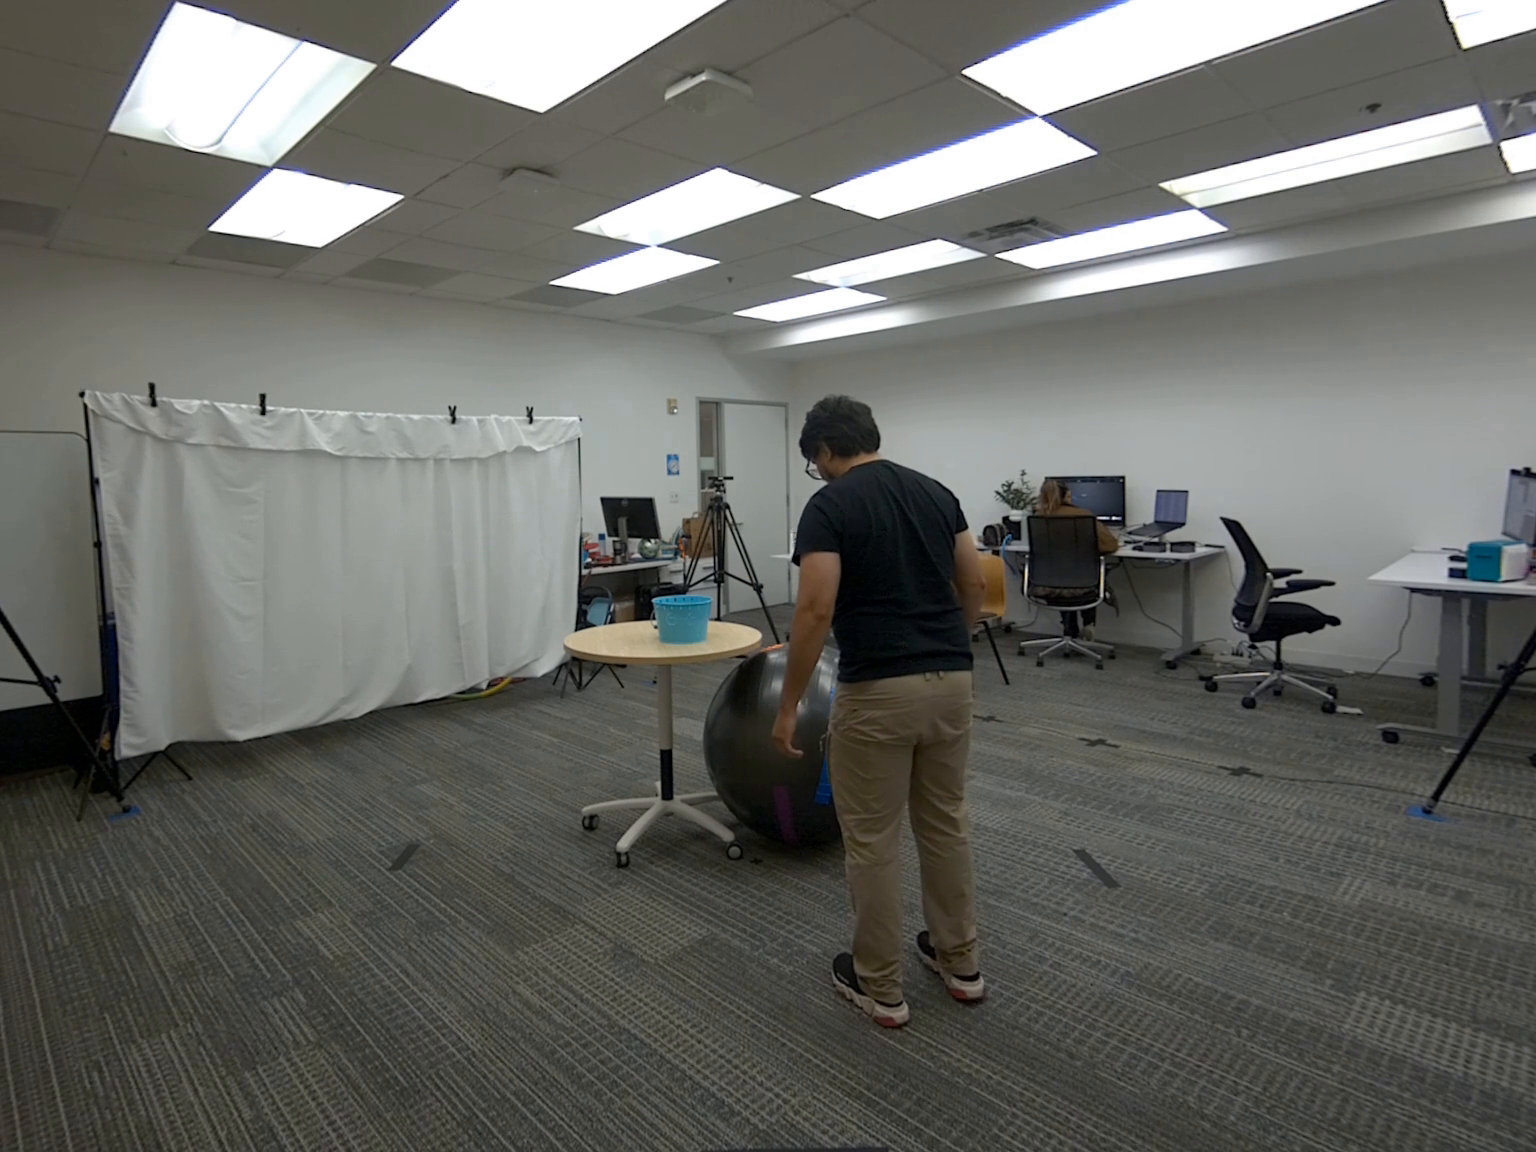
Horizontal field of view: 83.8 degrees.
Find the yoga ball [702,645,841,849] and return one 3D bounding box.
[{"bbox_3d":[0.136,0.642,3.305,0.757,0.755,0.762,-1,5,-2],"label":"yoga ball"}]
